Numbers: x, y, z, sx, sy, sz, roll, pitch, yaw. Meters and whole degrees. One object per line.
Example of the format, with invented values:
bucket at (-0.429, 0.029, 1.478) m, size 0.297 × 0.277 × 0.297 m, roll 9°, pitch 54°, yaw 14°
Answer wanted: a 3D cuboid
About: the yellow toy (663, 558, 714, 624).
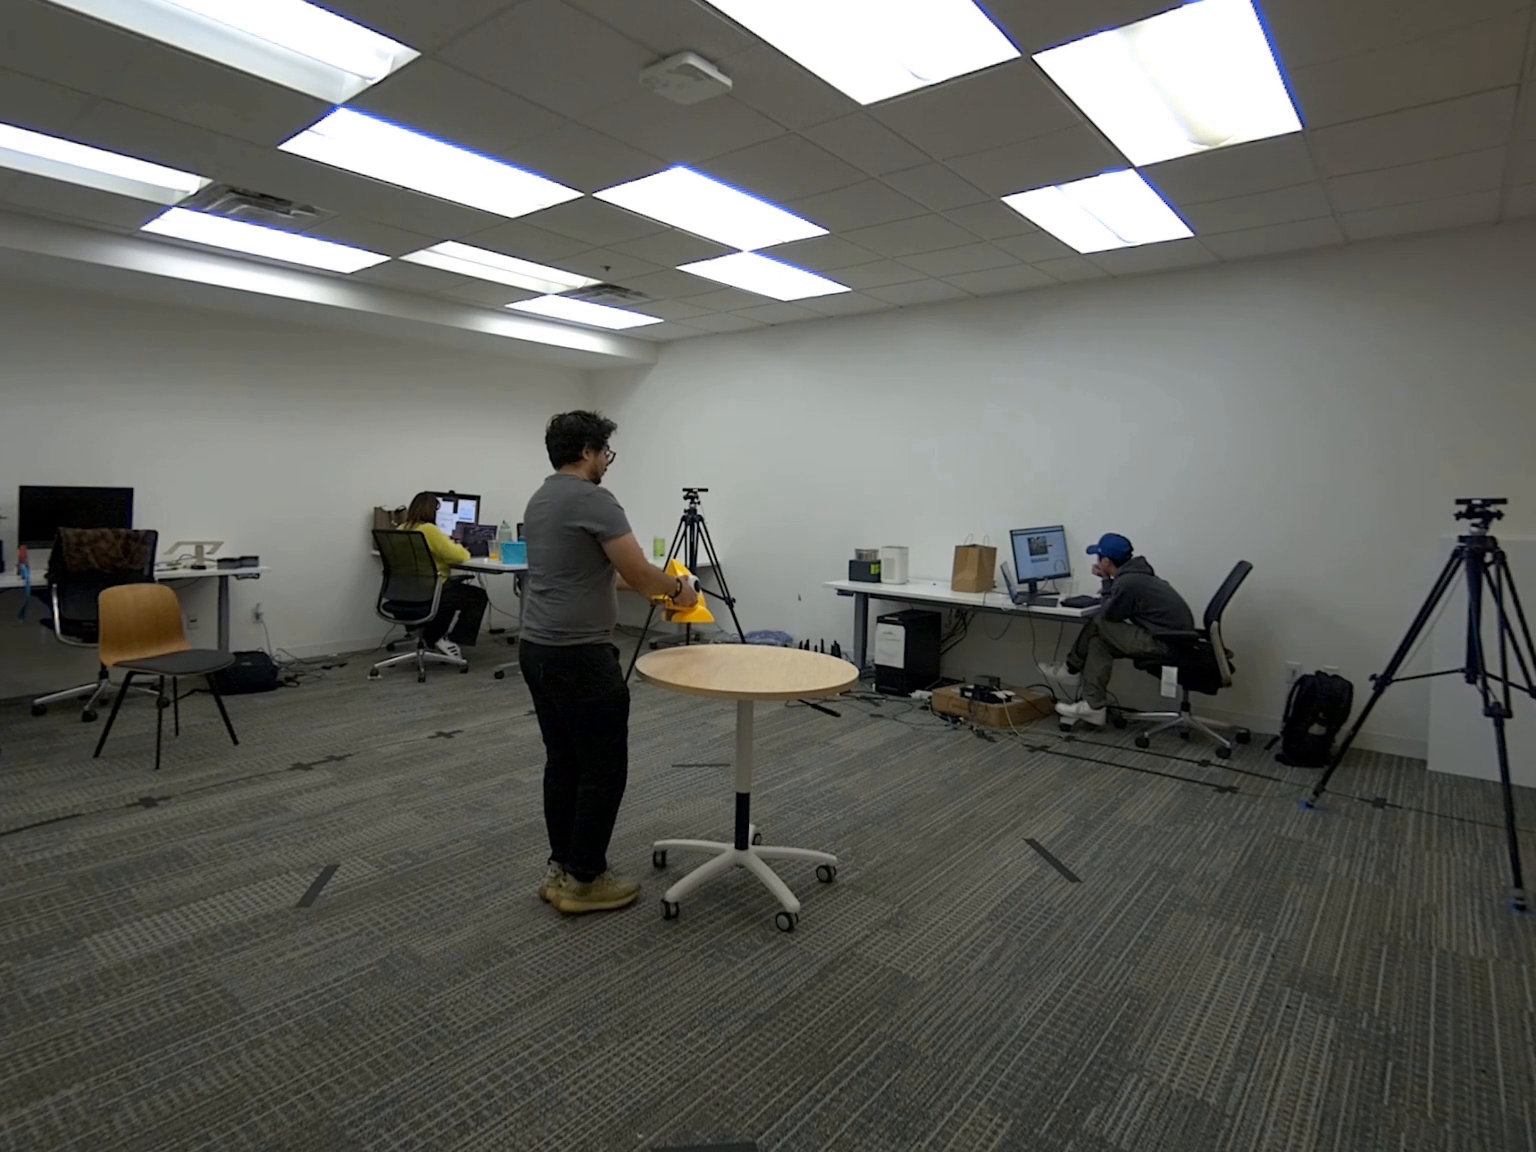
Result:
yellow toy at (-0.317, 0.050, 3.147) m, size 0.187 × 0.231 × 0.211 m, roll 2°, pitch -2°, yaw -34°
